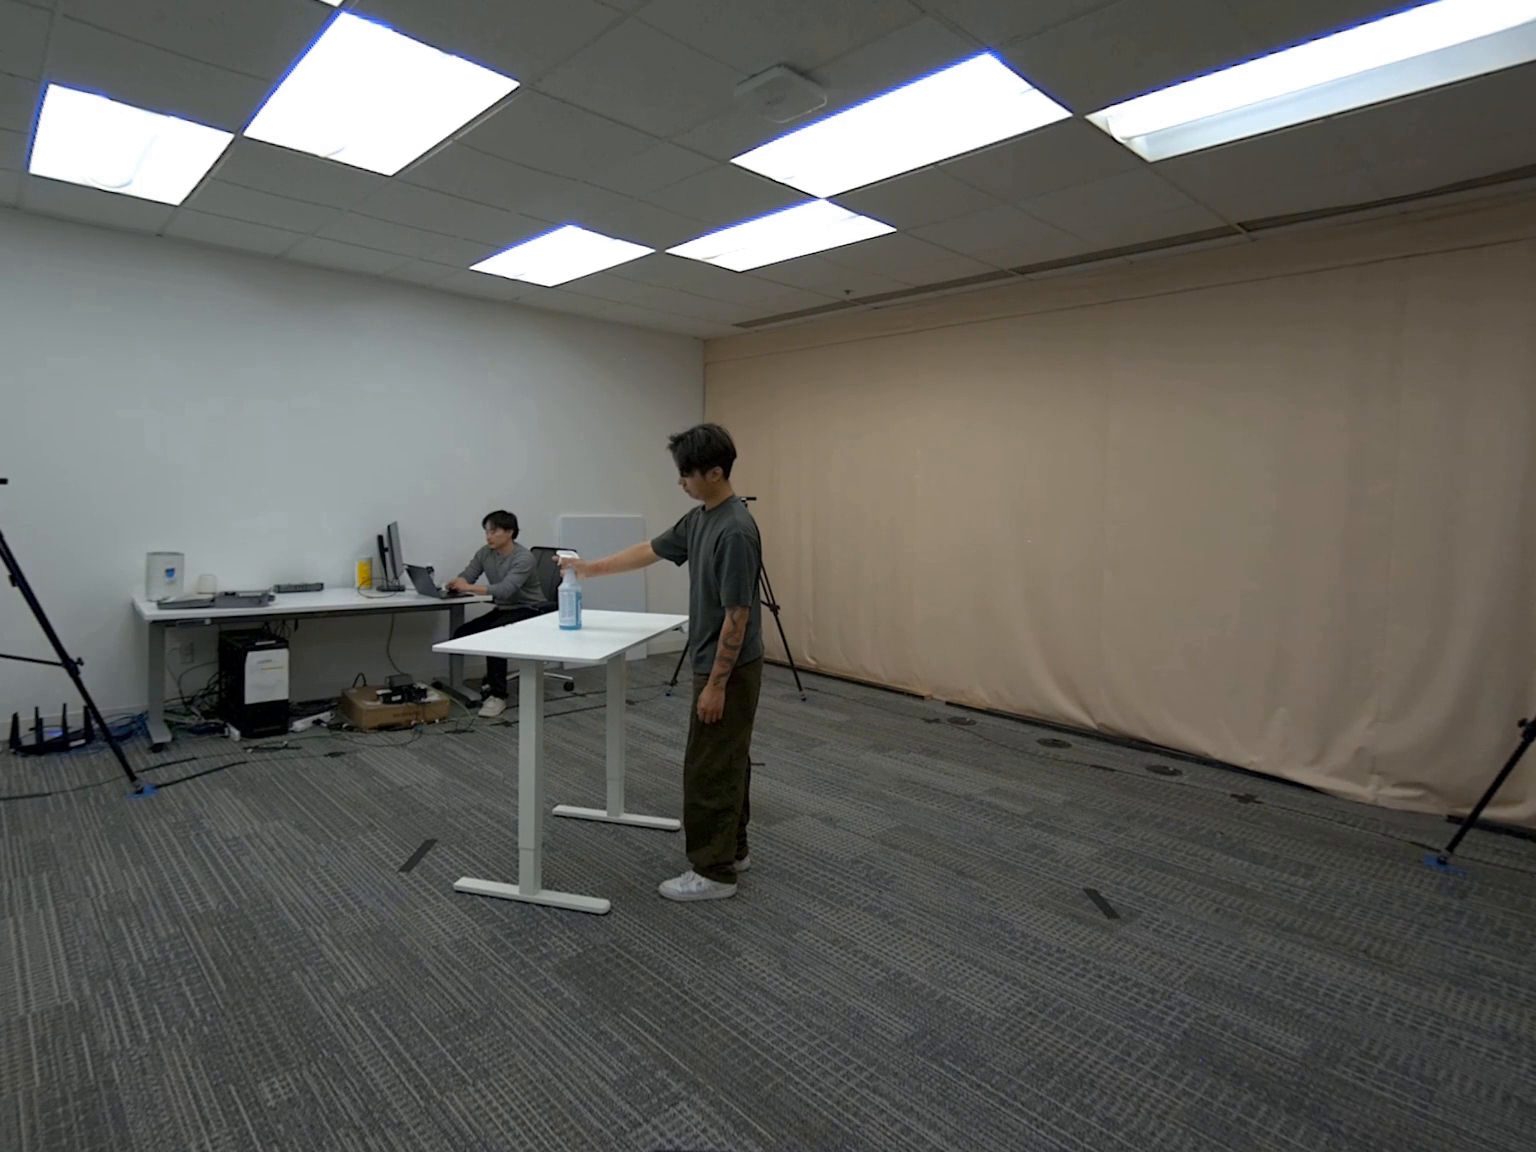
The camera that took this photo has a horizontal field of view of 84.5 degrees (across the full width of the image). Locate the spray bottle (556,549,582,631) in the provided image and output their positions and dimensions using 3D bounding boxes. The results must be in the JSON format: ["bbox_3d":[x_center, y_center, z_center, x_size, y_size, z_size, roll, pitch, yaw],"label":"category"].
[{"bbox_3d":[-0.757,0.052,3.215,0.092,0.296,0.085,3,5,39],"label":"spray bottle"}]
